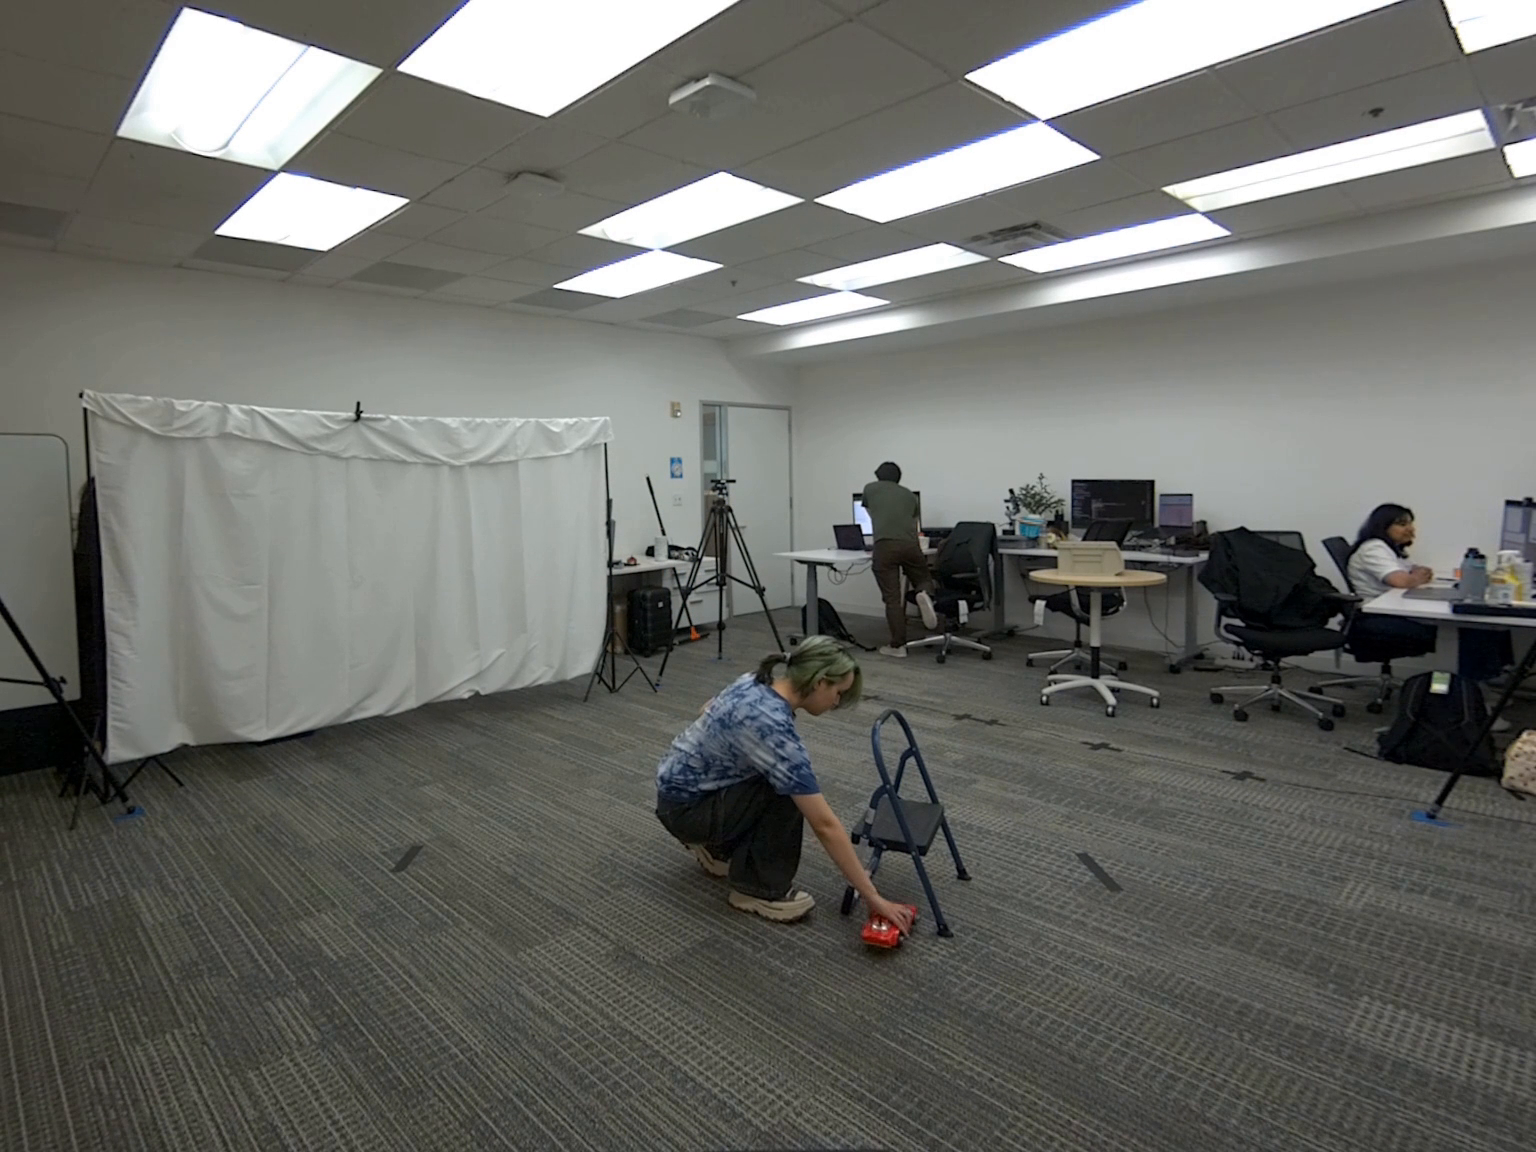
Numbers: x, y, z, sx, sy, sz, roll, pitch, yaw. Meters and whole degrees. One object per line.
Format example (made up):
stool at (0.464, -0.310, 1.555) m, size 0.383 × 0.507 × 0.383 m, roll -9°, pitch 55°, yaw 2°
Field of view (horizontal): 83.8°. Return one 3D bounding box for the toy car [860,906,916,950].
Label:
toy car at (0.360, 1.055, 2.565) m, size 0.133 × 0.084 × 0.247 m, roll -3°, pitch -7°, yaw 29°
